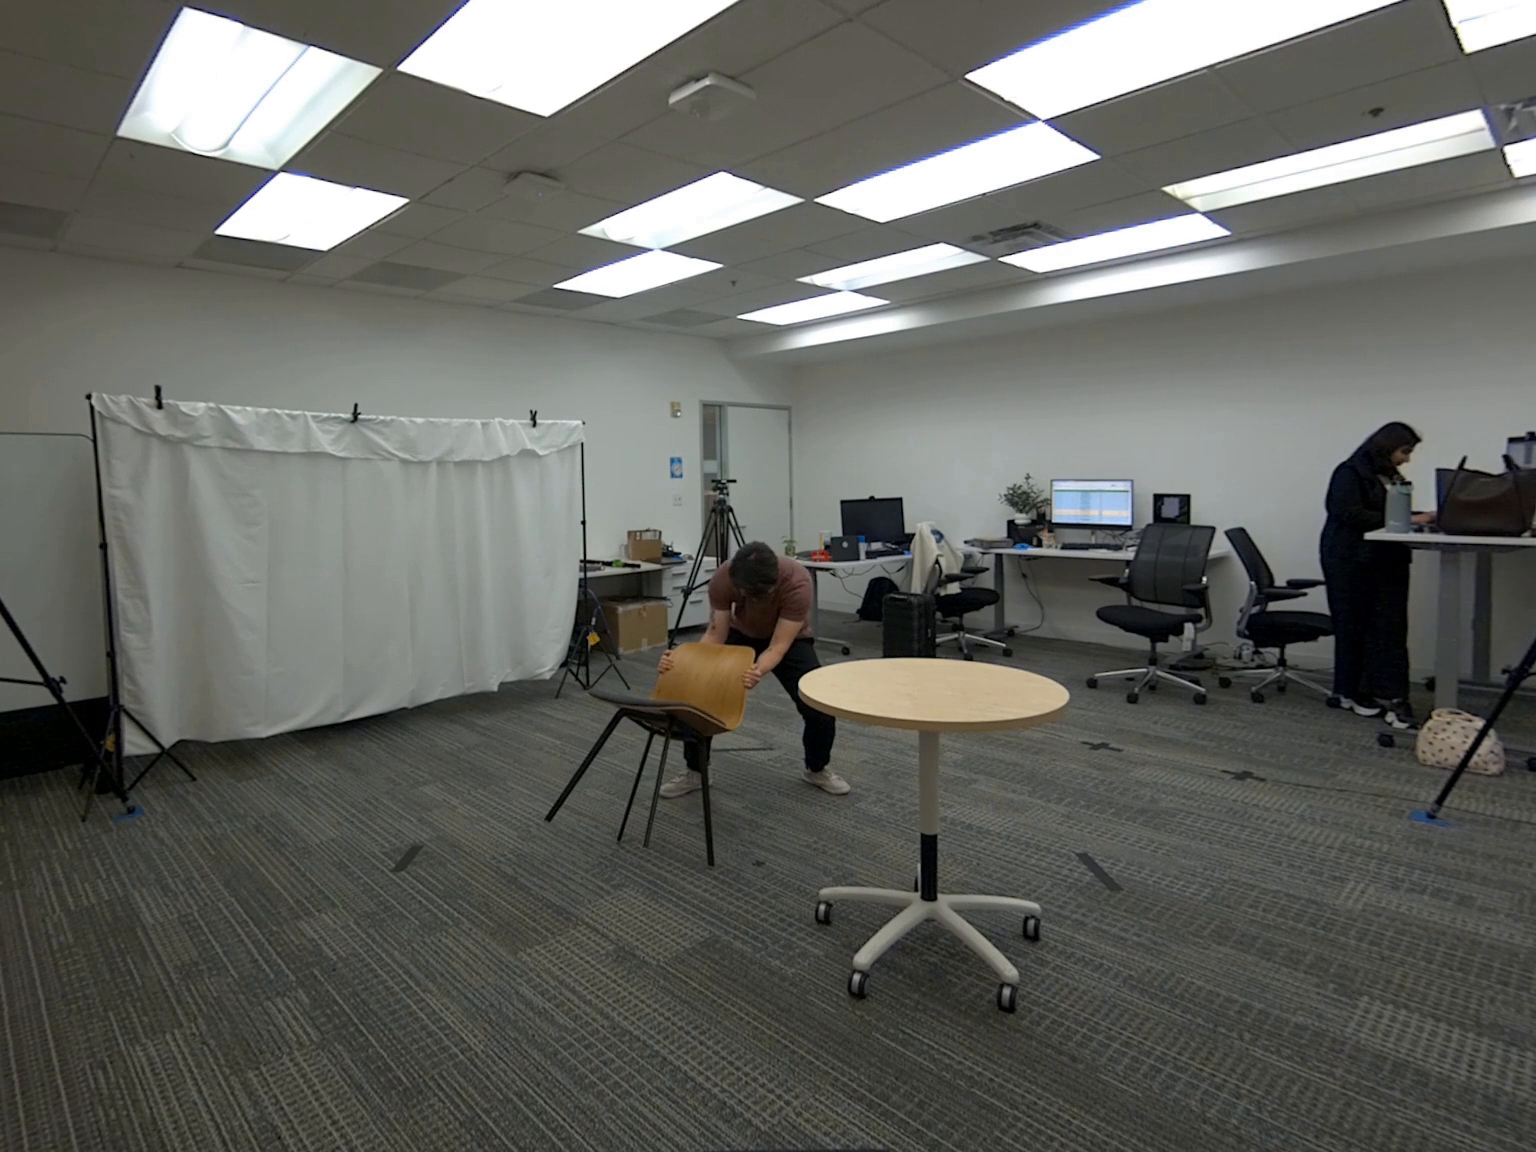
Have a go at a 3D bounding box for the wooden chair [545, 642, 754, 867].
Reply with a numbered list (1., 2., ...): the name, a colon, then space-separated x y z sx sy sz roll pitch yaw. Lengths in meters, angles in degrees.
1. wooden chair: -0.394 0.557 3.167 0.491 0.888 0.503 1 -27 32
